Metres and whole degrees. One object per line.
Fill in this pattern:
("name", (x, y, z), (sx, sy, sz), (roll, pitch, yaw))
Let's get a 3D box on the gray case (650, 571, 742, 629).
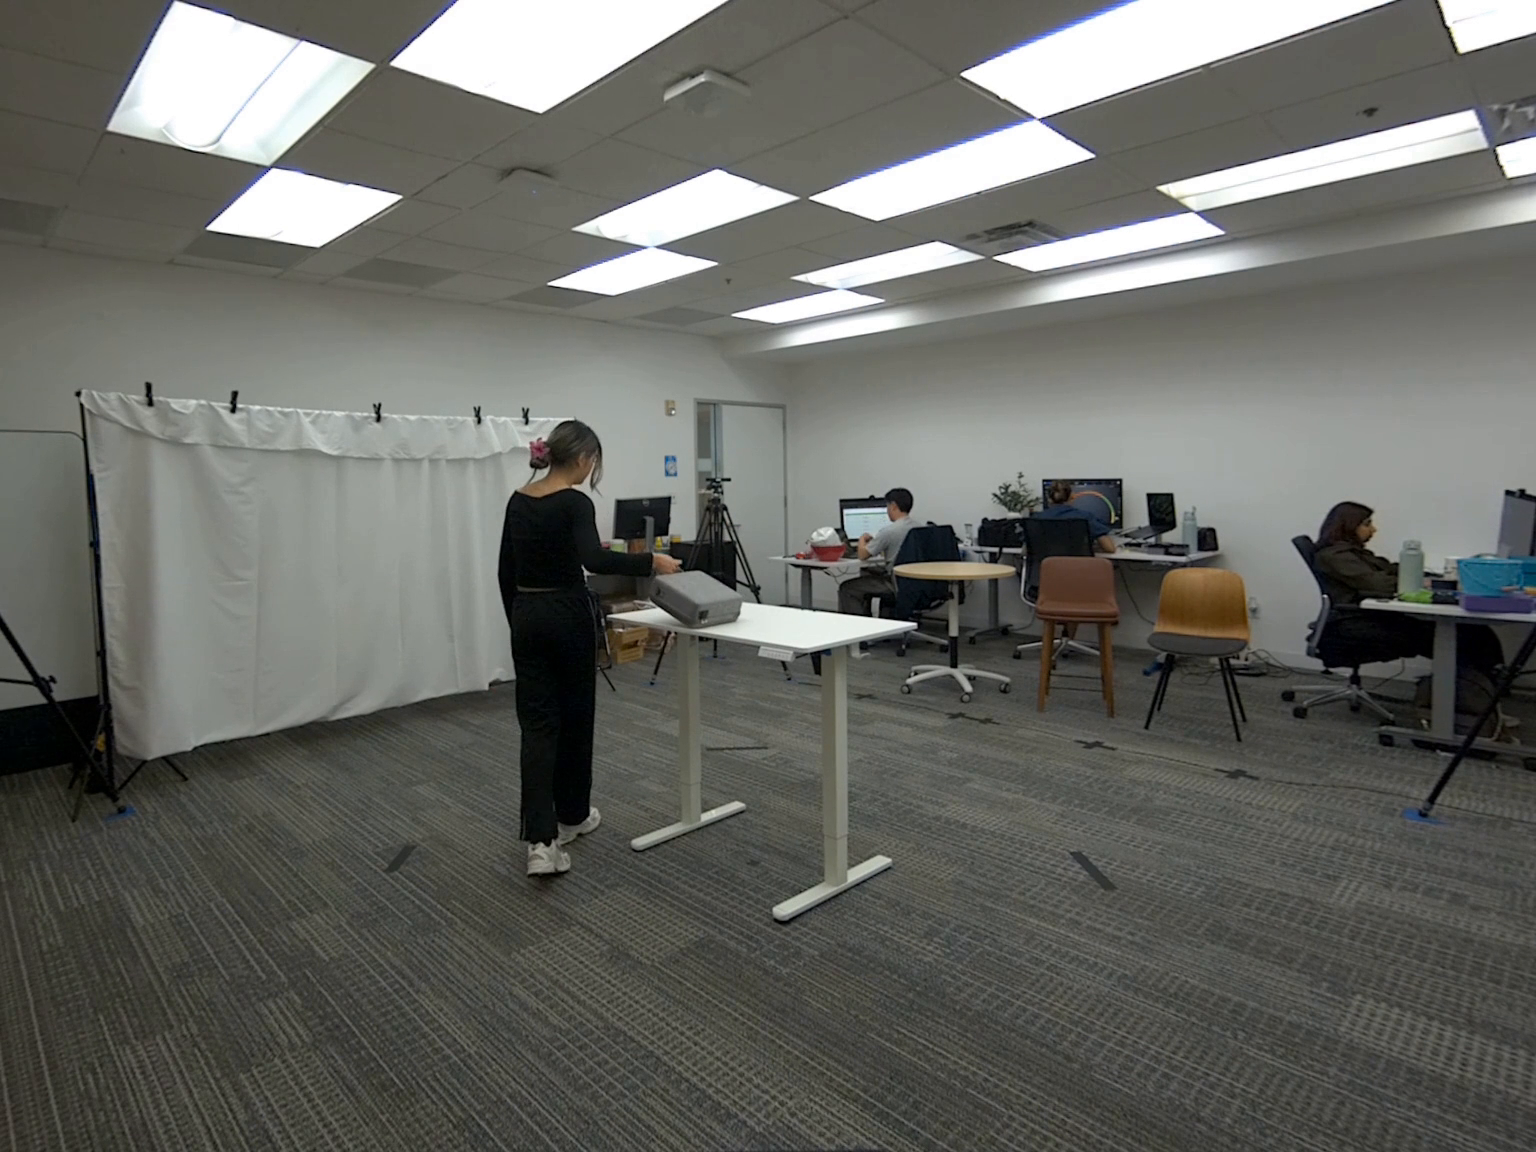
("gray case", (-0.254, 0.077, 3.059), (0.270, 0.103, 0.250), (29, 25, 35))
